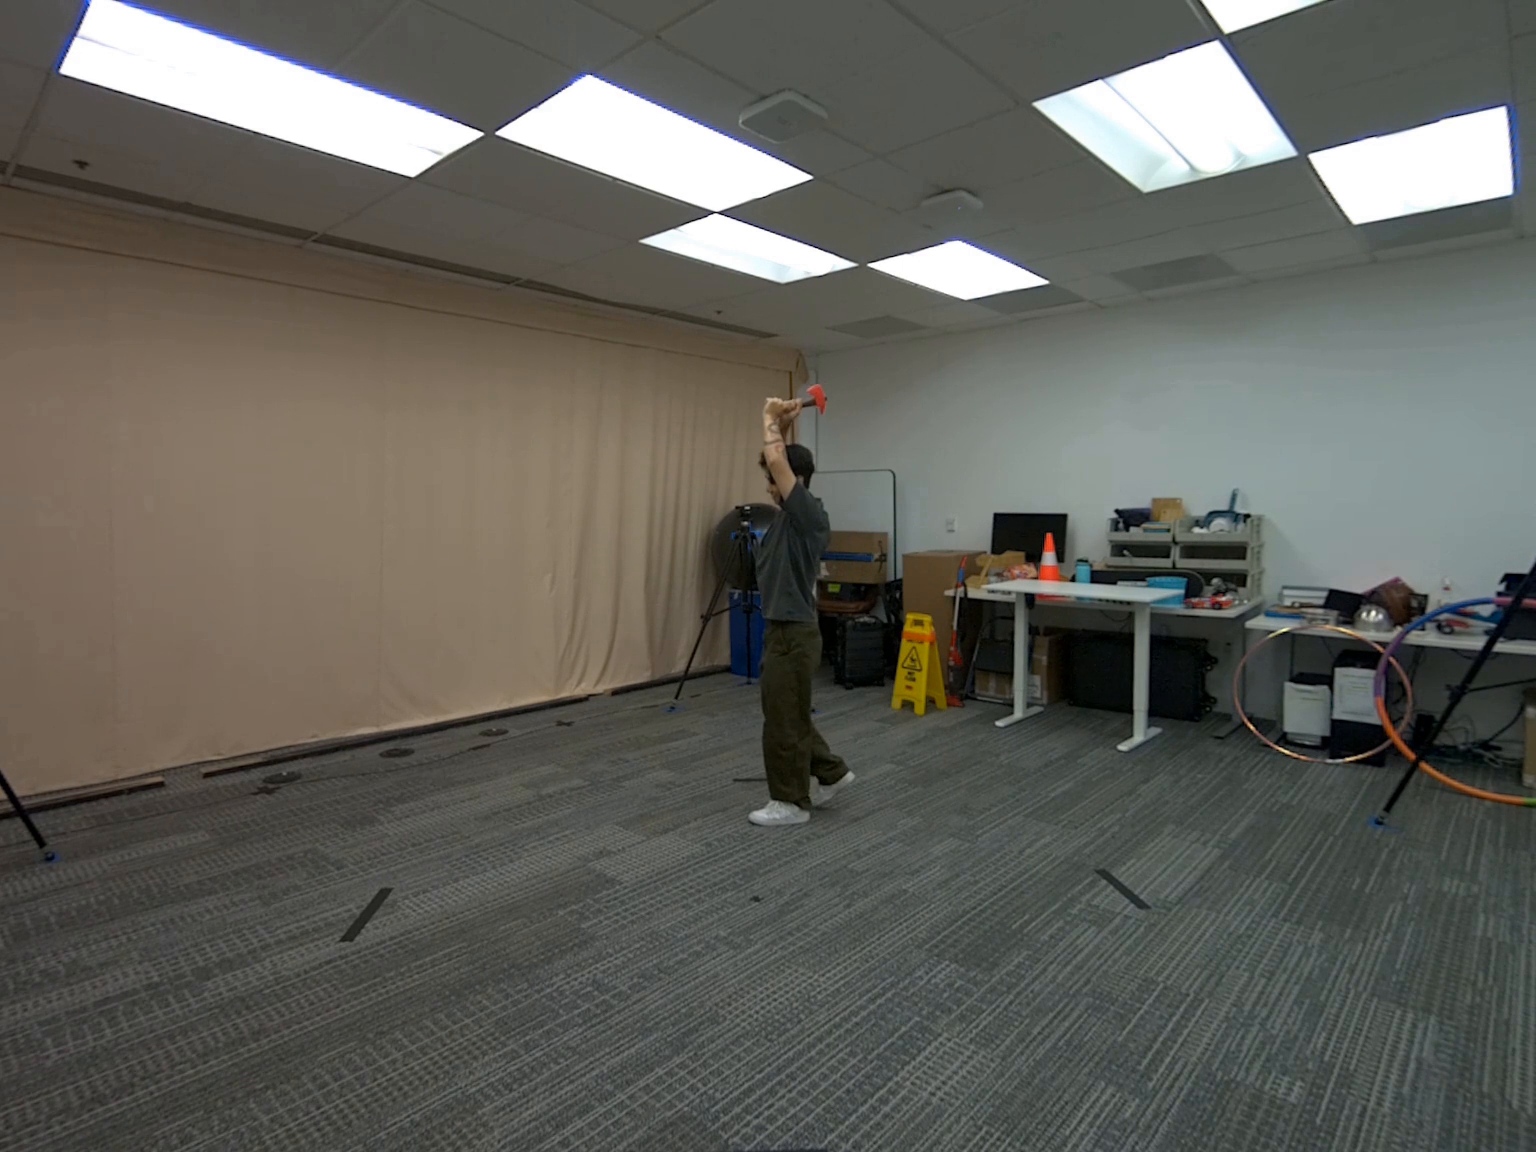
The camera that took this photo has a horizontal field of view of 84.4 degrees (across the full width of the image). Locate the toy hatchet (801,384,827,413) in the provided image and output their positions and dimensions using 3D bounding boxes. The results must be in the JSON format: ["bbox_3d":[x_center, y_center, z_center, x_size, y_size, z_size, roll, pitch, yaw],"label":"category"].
[{"bbox_3d":[0.122,-0.756,3.584,0.267,0.129,0.030,4,30,-9],"label":"toy hatchet"}]
